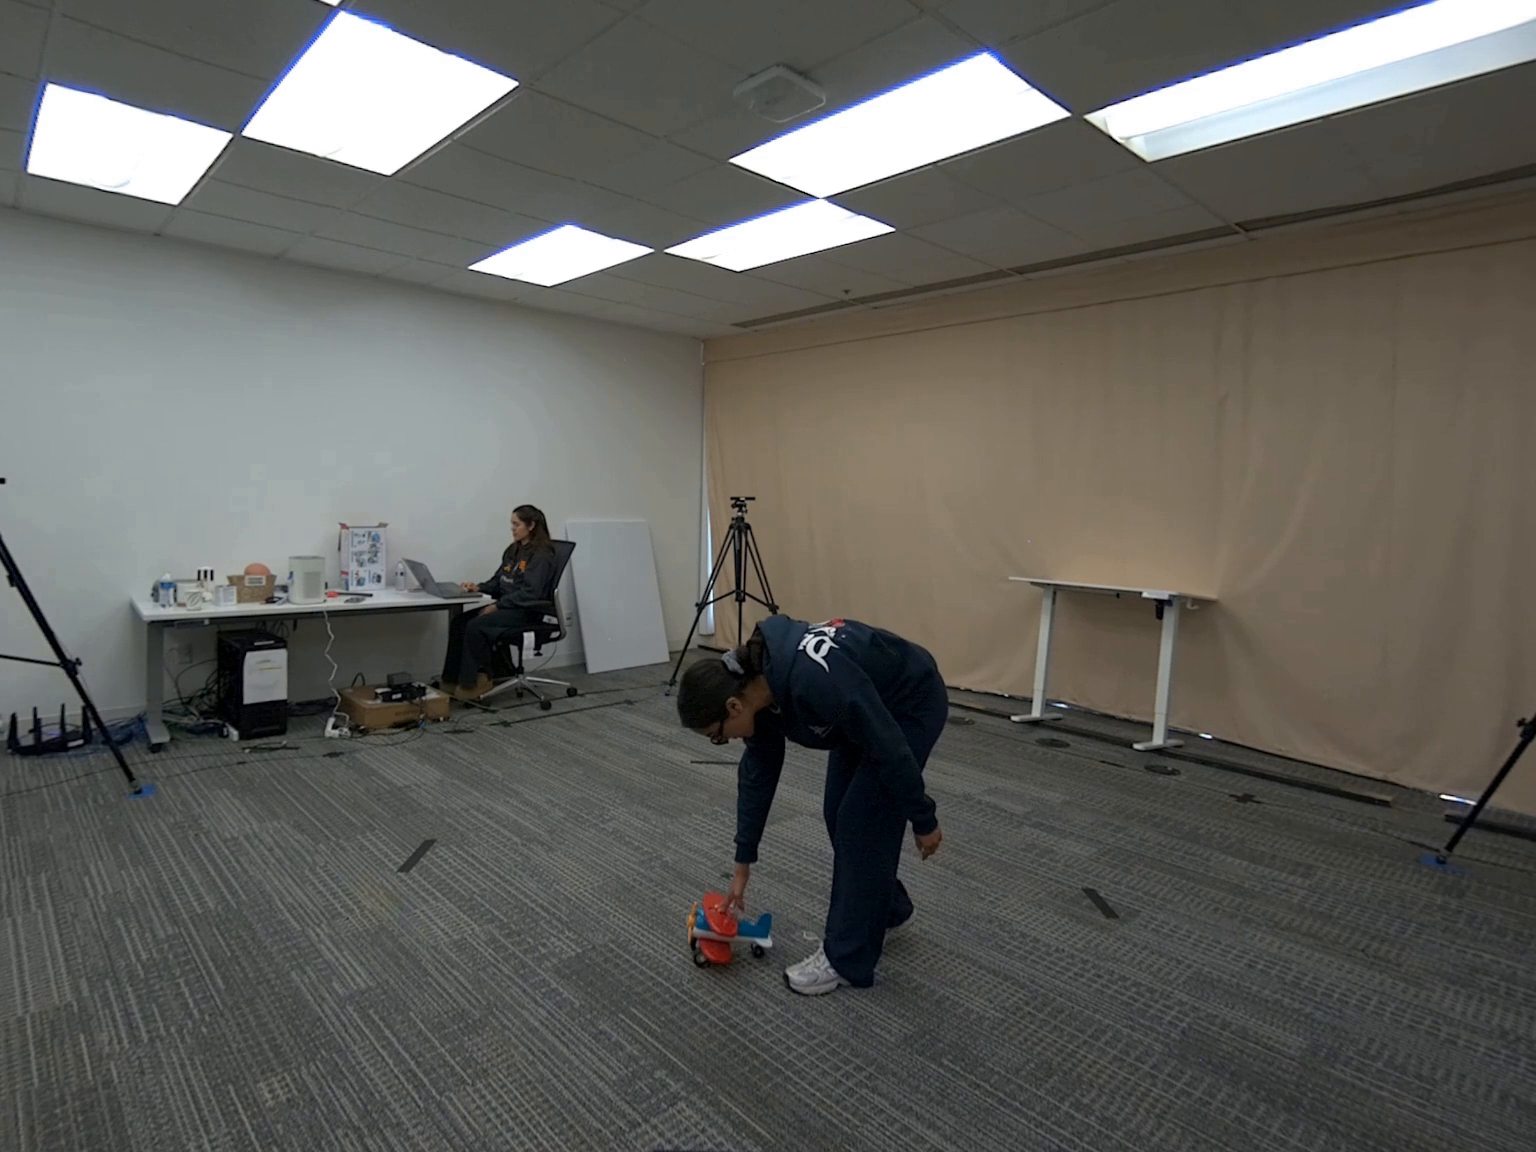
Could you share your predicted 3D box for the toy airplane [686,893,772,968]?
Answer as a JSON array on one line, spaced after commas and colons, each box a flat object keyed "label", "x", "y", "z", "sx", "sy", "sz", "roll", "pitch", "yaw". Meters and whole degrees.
[{"label": "toy airplane", "x": -0.120, "y": 1.080, "z": 2.571, "sx": 0.253, "sy": 0.156, "sz": 0.257, "roll": -2, "pitch": 6, "yaw": -37}]
